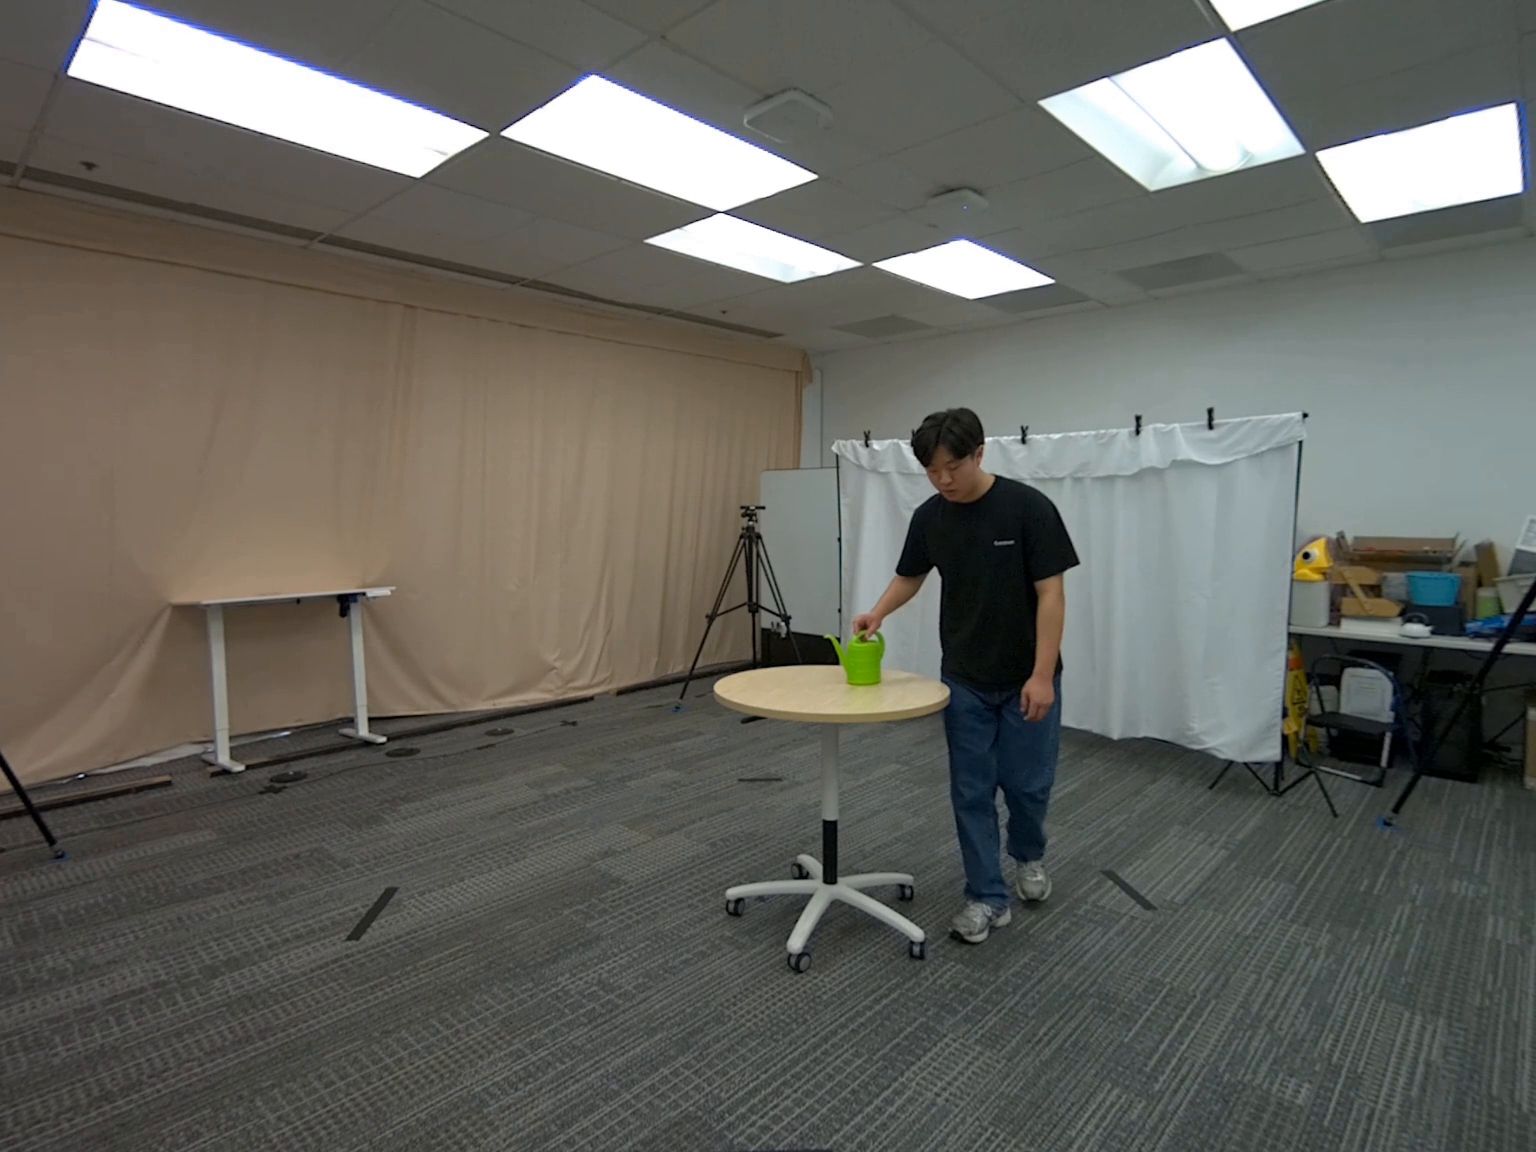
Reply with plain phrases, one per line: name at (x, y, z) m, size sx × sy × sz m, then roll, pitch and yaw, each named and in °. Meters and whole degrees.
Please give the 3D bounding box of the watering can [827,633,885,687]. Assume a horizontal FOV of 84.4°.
watering can at (0.293, 0.276, 2.817) m, size 0.271 × 0.177 × 0.100 m, roll 0°, pitch -2°, yaw -25°
